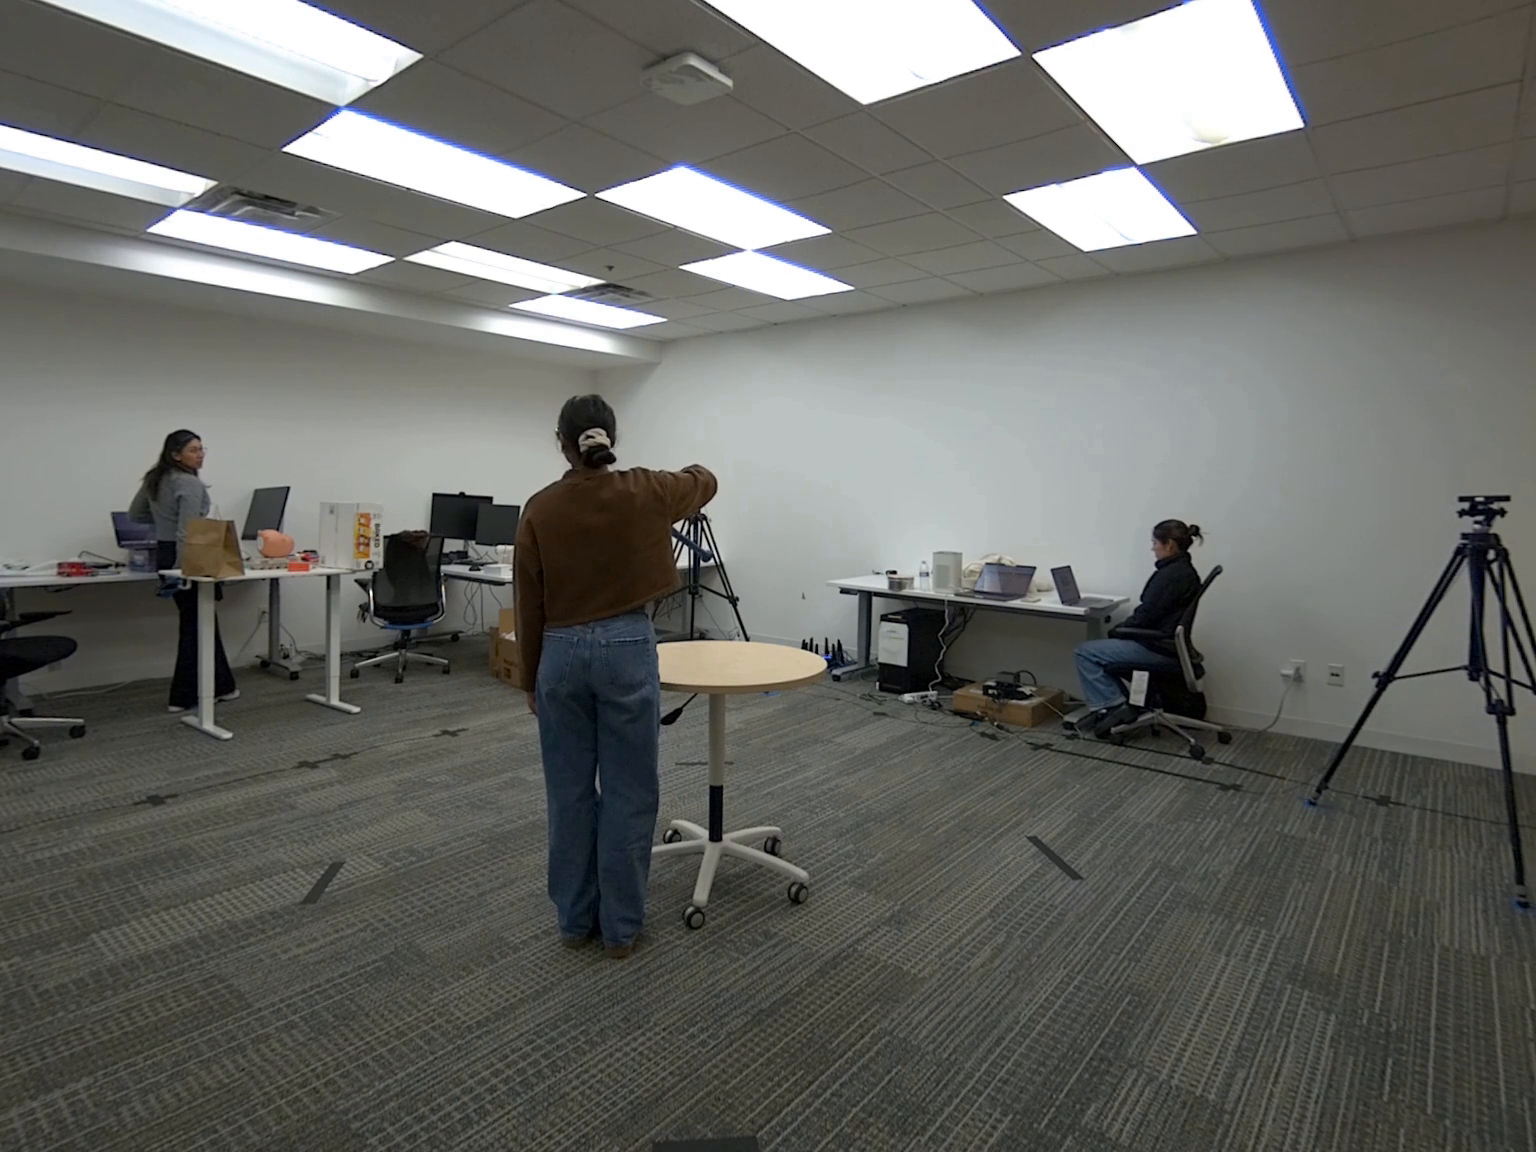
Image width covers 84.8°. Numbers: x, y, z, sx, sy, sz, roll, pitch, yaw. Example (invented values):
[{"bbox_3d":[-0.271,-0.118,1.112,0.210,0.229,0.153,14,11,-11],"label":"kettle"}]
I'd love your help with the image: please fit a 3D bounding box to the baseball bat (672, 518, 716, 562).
[{"bbox_3d":[-0.412,-0.194,2.924,0.525,0.089,0.091,36,-14,-25],"label":"baseball bat"}]
